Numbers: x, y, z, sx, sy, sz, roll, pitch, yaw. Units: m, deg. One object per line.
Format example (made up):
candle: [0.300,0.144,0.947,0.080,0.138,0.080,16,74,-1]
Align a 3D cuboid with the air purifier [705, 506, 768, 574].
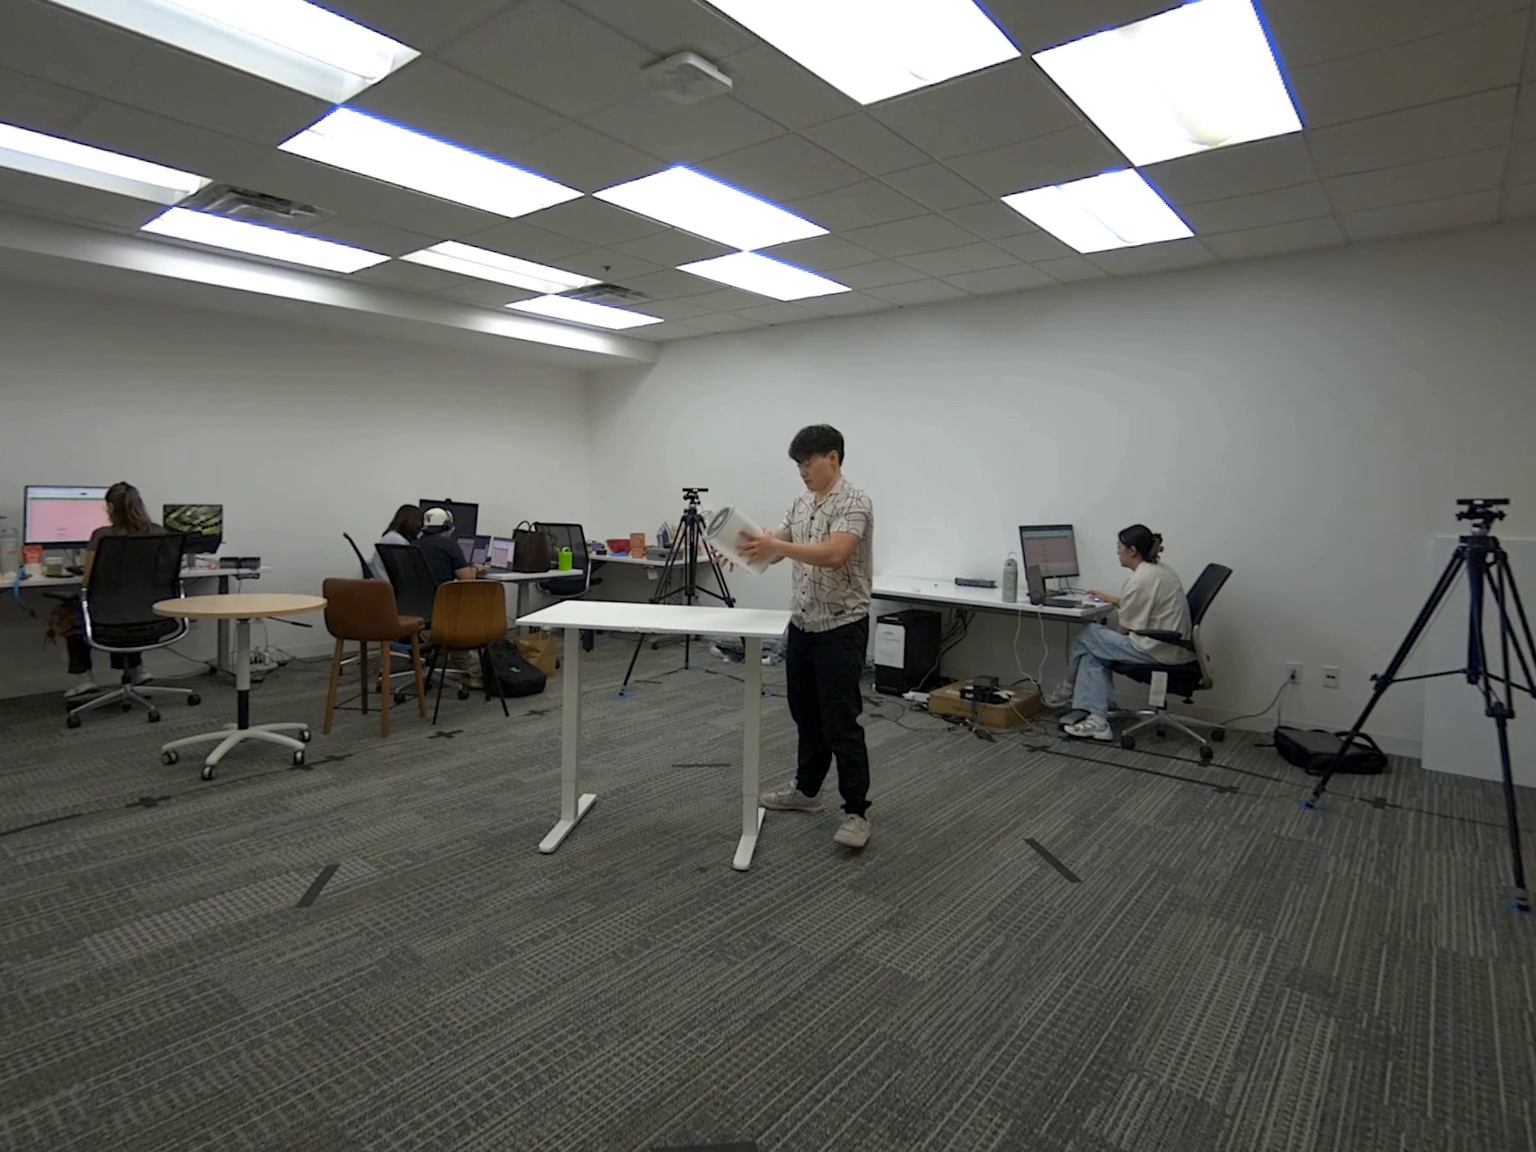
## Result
air purifier: [-0.114,-0.149,3.441,0.259,0.172,0.175,36,-7,-17]
